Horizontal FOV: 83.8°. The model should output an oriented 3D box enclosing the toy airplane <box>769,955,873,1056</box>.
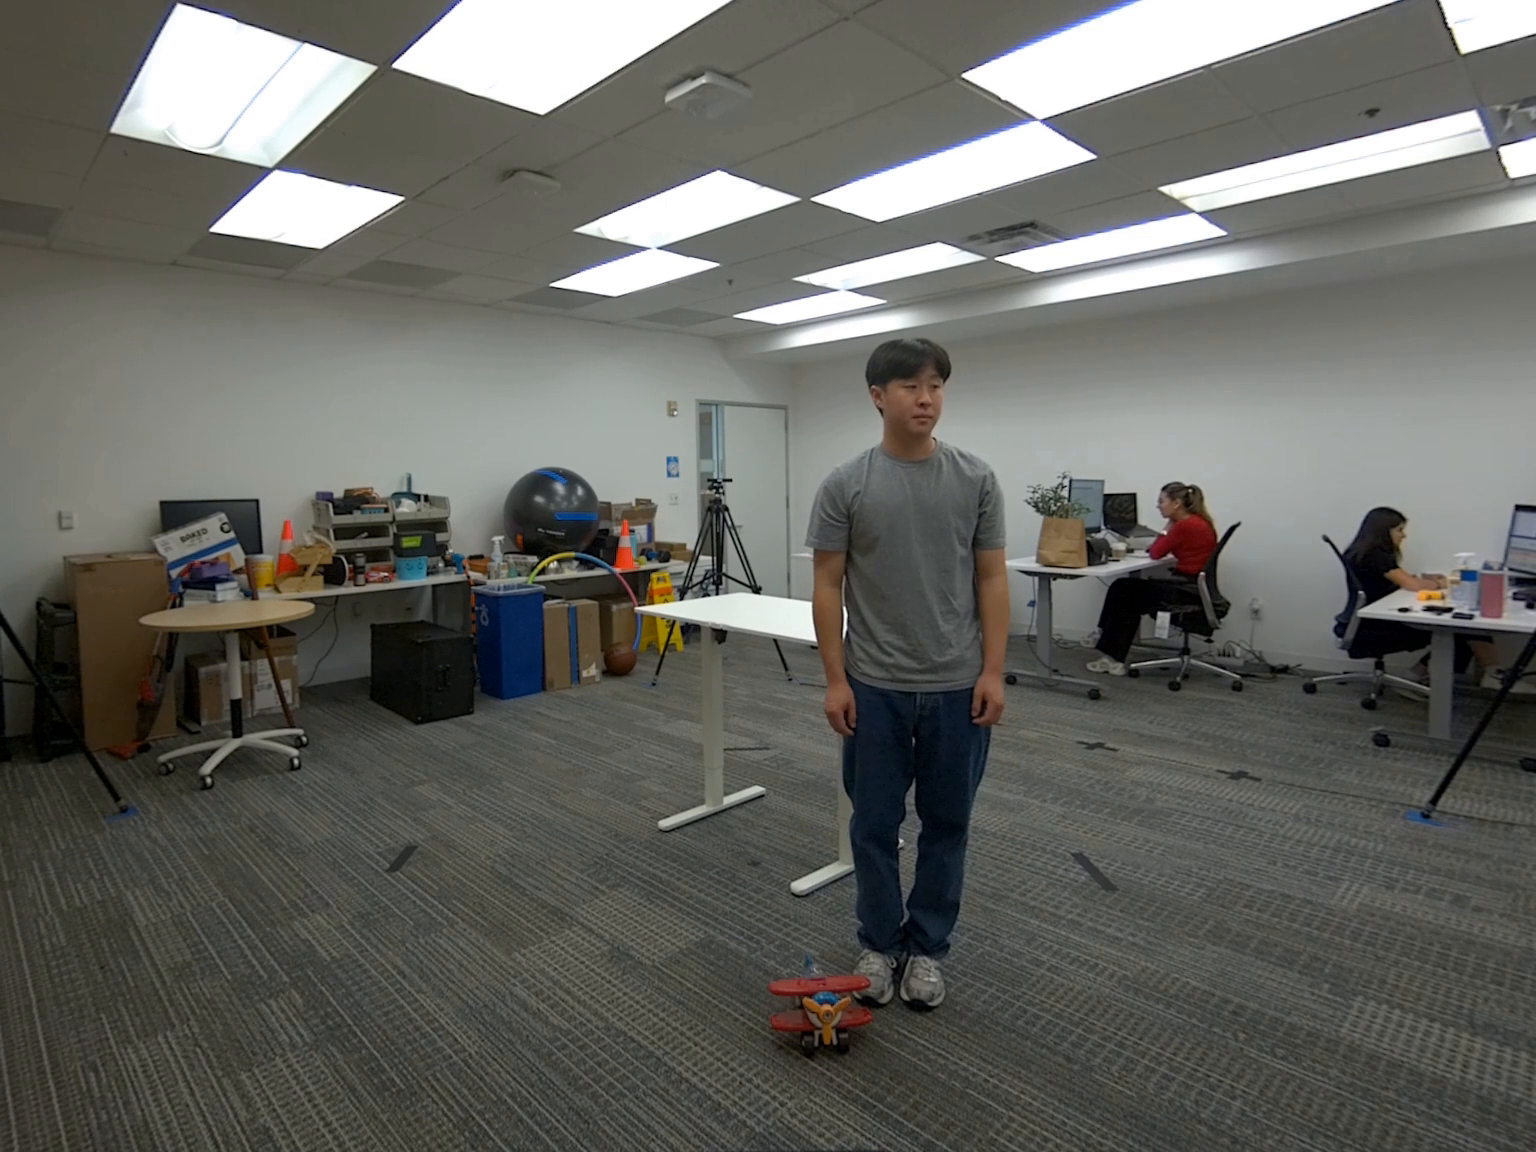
[{"bbox_3d":[0.114,1.078,2.155,0.245,0.155,0.267,-5,8,-35],"label":"toy airplane"}]
